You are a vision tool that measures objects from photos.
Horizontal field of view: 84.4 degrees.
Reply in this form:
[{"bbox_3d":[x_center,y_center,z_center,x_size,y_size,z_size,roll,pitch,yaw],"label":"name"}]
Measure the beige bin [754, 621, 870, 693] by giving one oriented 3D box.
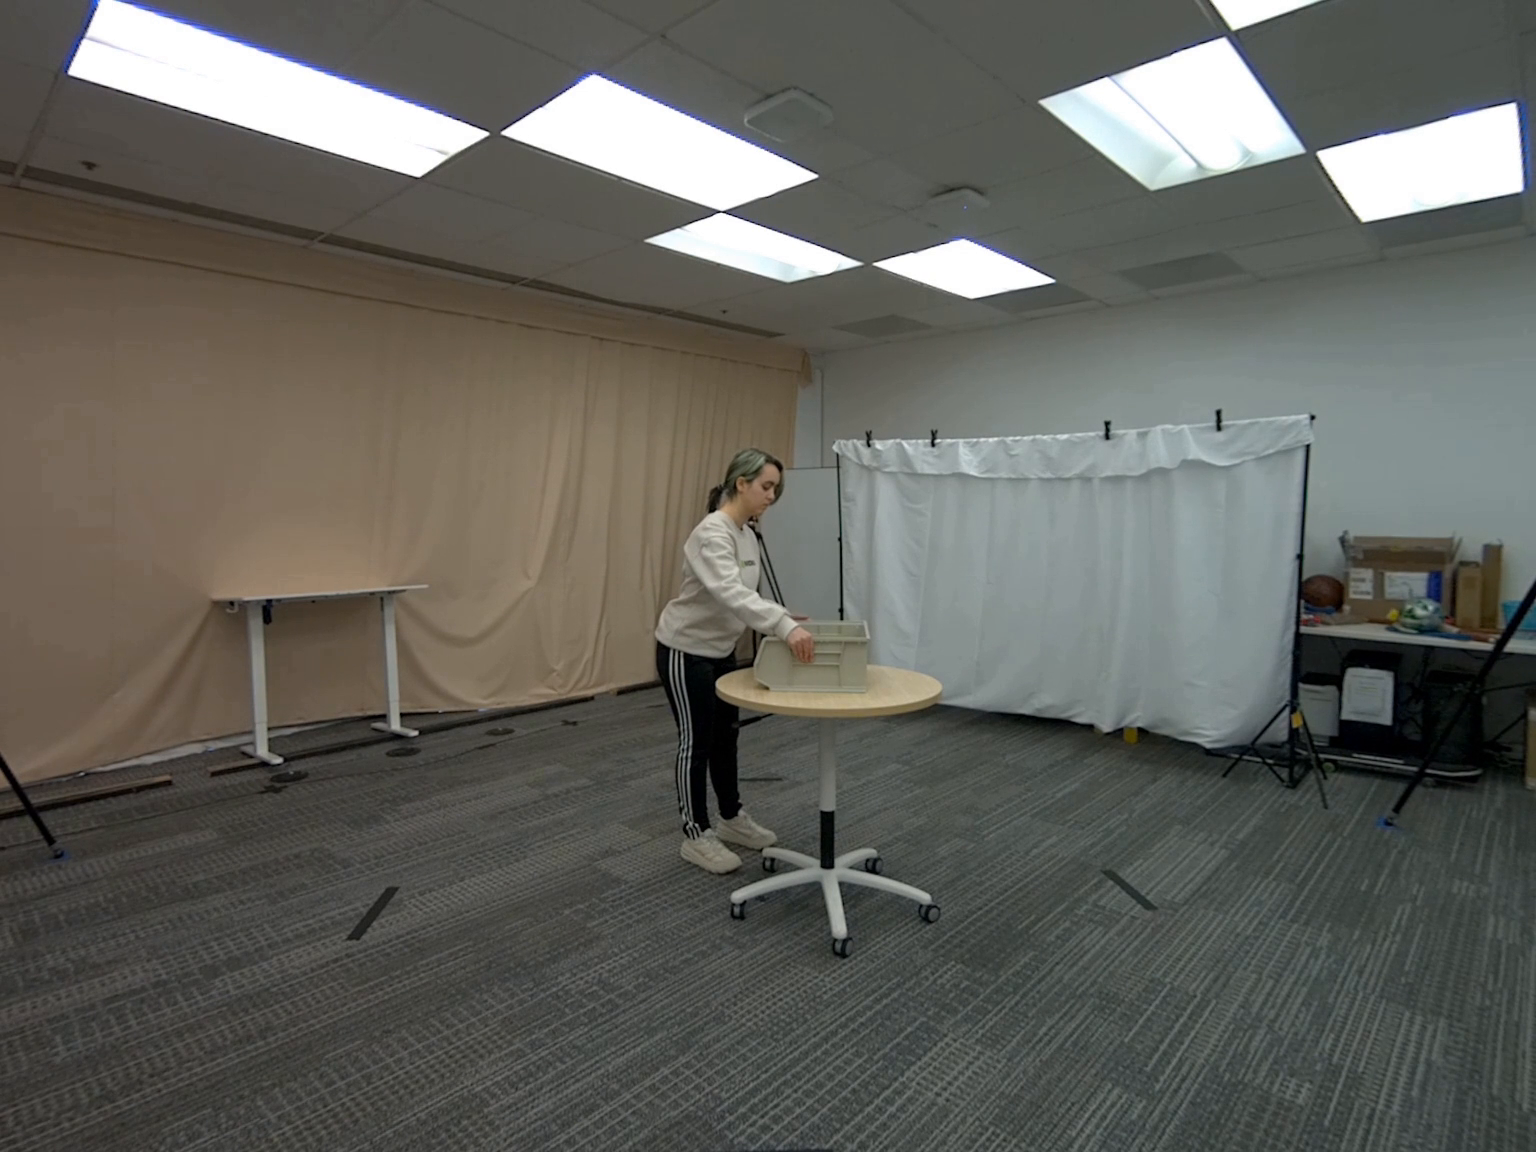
[{"bbox_3d":[0.167,0.275,2.940,0.380,0.188,0.421,1,4,4],"label":"beige bin"}]
